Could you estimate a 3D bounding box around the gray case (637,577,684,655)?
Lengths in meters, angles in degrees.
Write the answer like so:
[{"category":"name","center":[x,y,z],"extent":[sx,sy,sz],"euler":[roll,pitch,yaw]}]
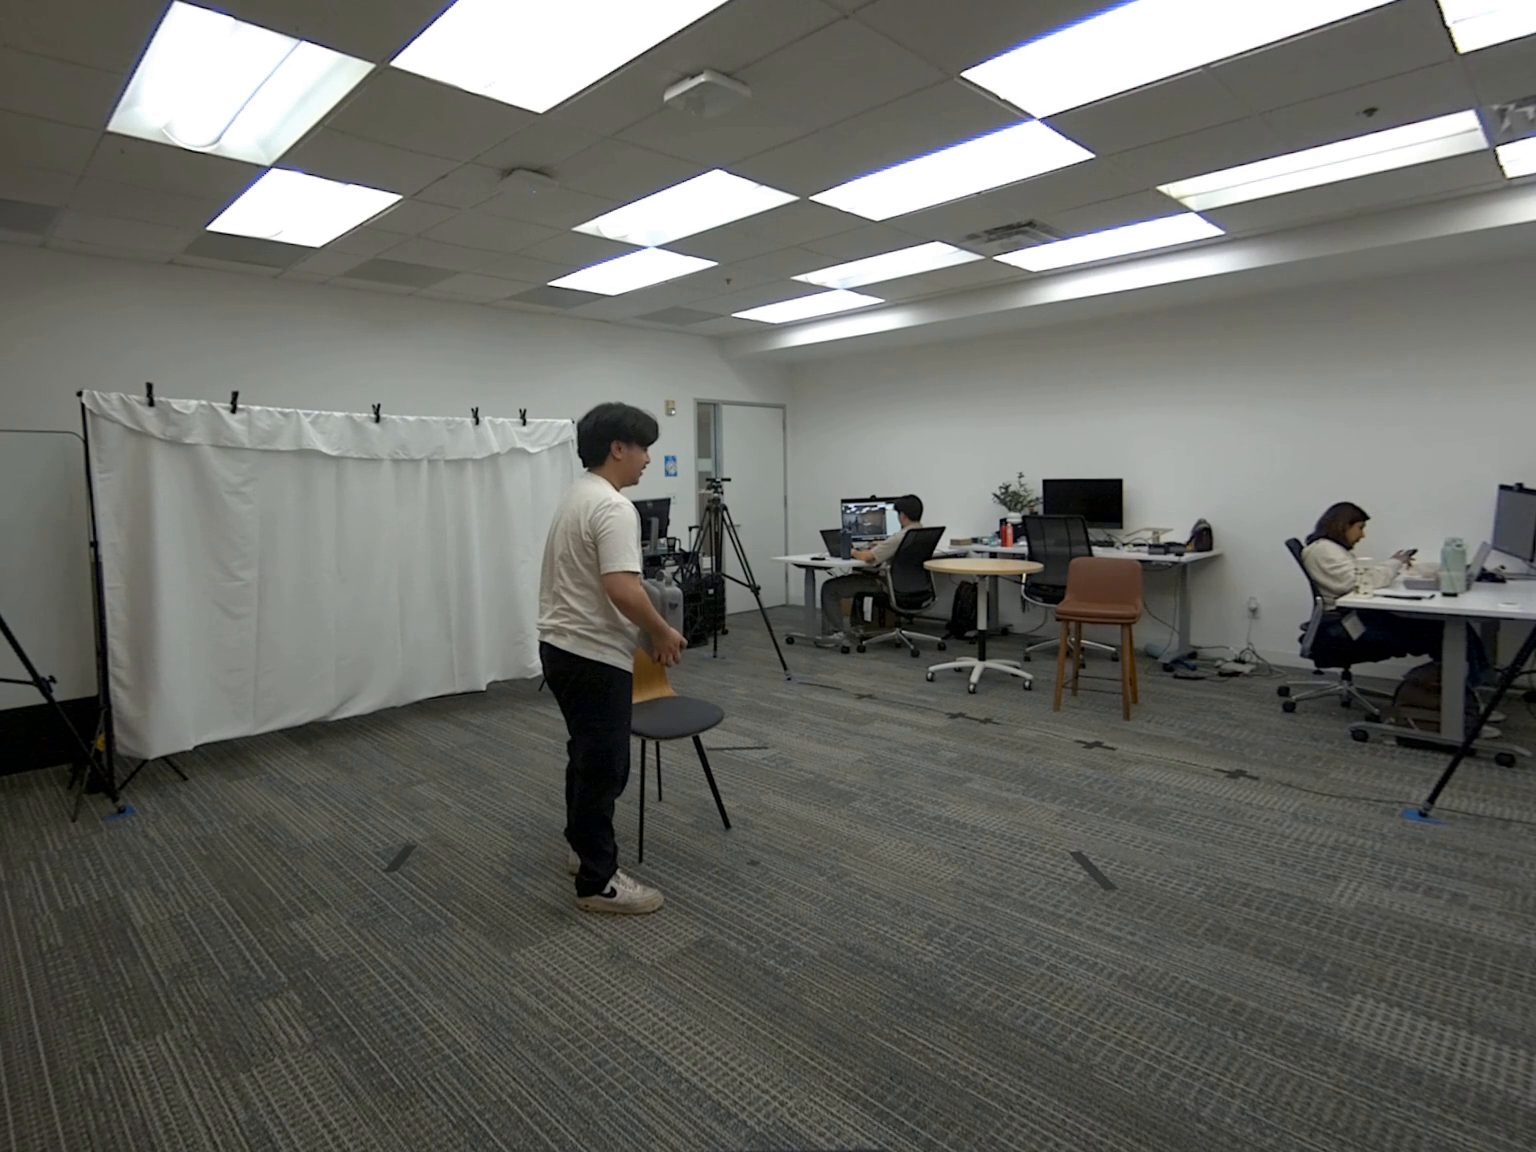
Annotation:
[{"category":"gray case","center":[-0.370,0.138,2.946],"extent":[0.102,0.258,0.264],"euler":[-1,11,-23]}]
